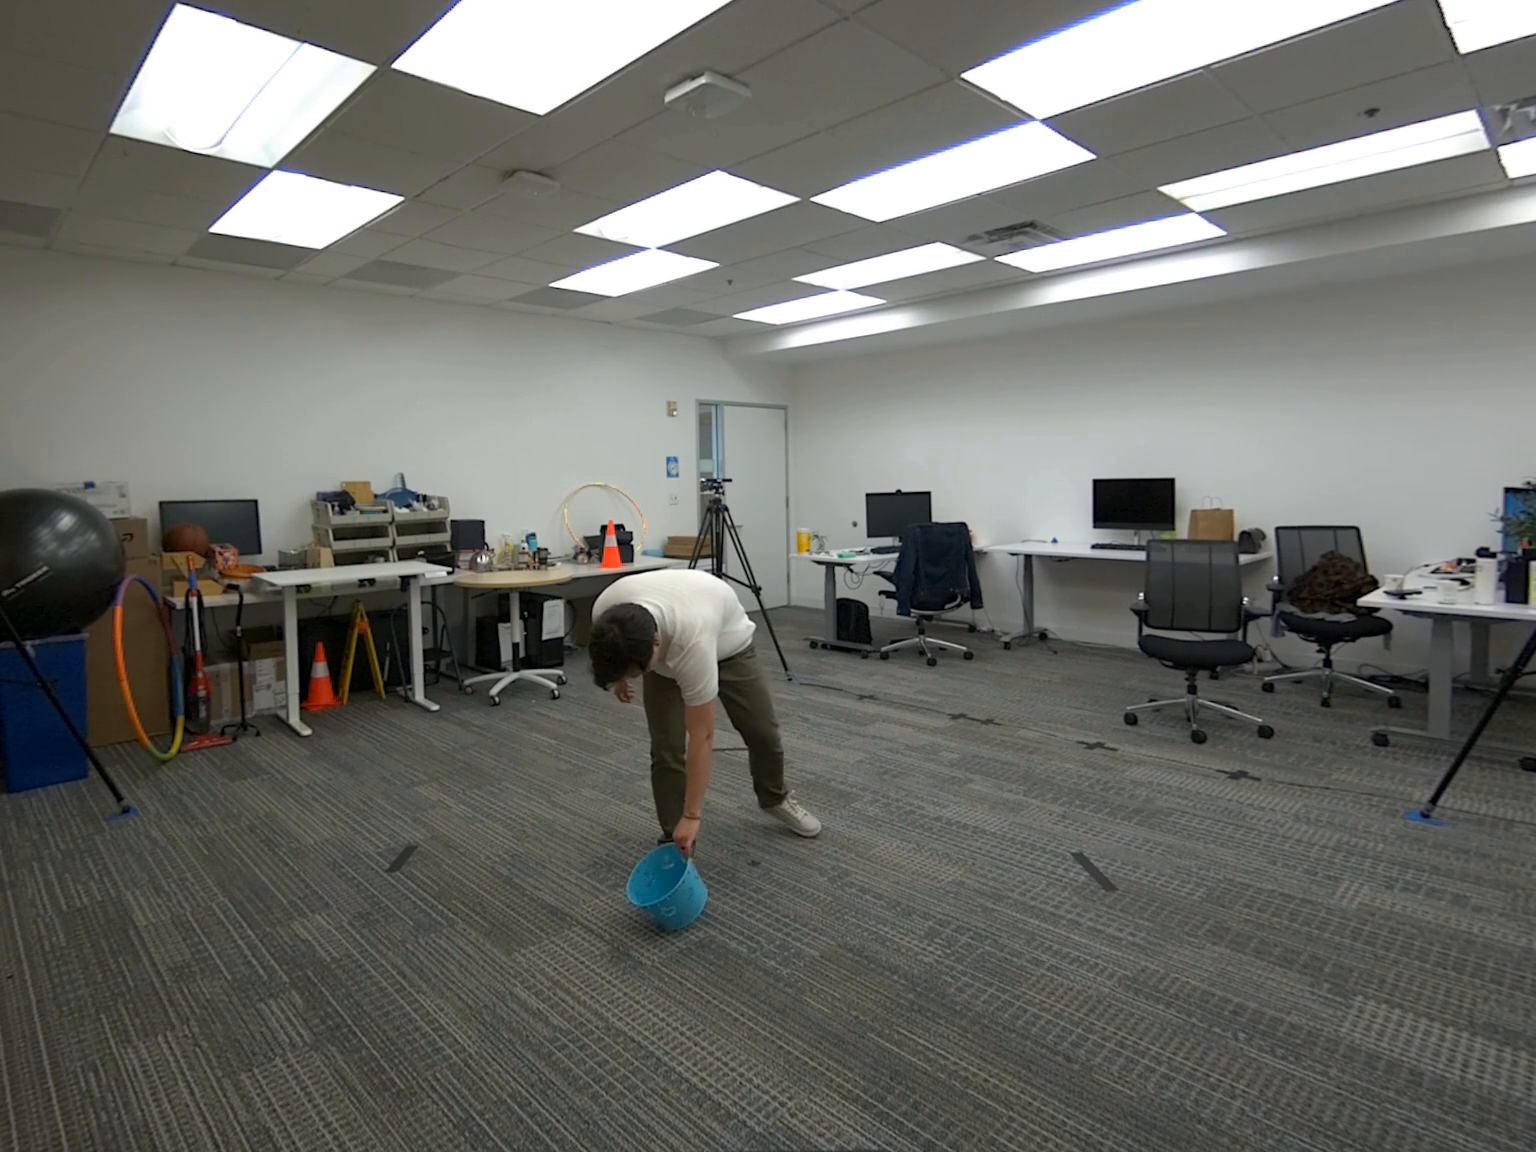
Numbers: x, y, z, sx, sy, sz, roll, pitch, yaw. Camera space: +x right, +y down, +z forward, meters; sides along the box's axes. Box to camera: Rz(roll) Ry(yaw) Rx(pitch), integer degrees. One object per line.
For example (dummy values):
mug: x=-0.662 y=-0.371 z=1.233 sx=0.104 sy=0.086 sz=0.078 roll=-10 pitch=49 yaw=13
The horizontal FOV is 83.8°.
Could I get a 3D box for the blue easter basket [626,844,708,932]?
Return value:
blue easter basket: x=-0.293 y=0.981 z=2.683 sx=0.245 sy=0.152 sz=0.248 roll=-25 pitch=22 yaw=9
